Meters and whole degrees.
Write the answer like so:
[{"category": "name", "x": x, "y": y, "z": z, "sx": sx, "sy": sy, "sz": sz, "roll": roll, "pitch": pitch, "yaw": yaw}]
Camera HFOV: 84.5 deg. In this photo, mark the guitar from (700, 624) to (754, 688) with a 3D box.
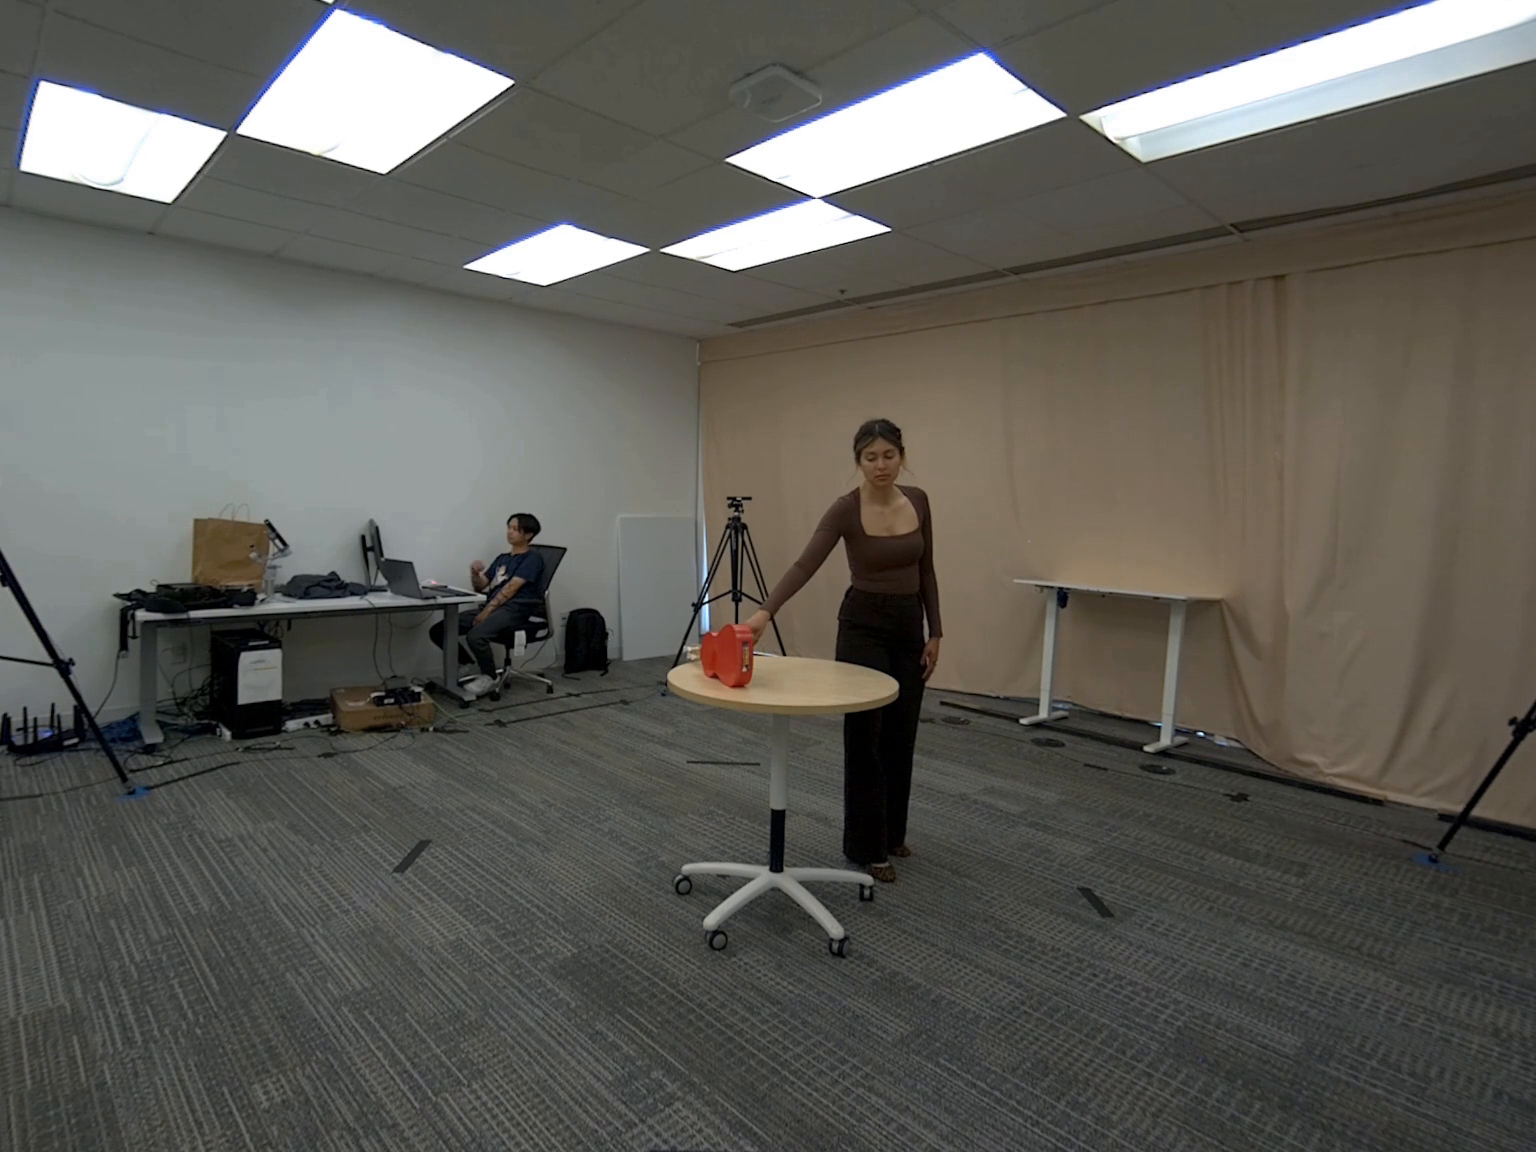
[{"category": "guitar", "x": -0.187, "y": 0.292, "z": 2.823, "sx": 0.069, "sy": 0.195, "sz": 0.502, "roll": 5, "pitch": -15, "yaw": -27}]
